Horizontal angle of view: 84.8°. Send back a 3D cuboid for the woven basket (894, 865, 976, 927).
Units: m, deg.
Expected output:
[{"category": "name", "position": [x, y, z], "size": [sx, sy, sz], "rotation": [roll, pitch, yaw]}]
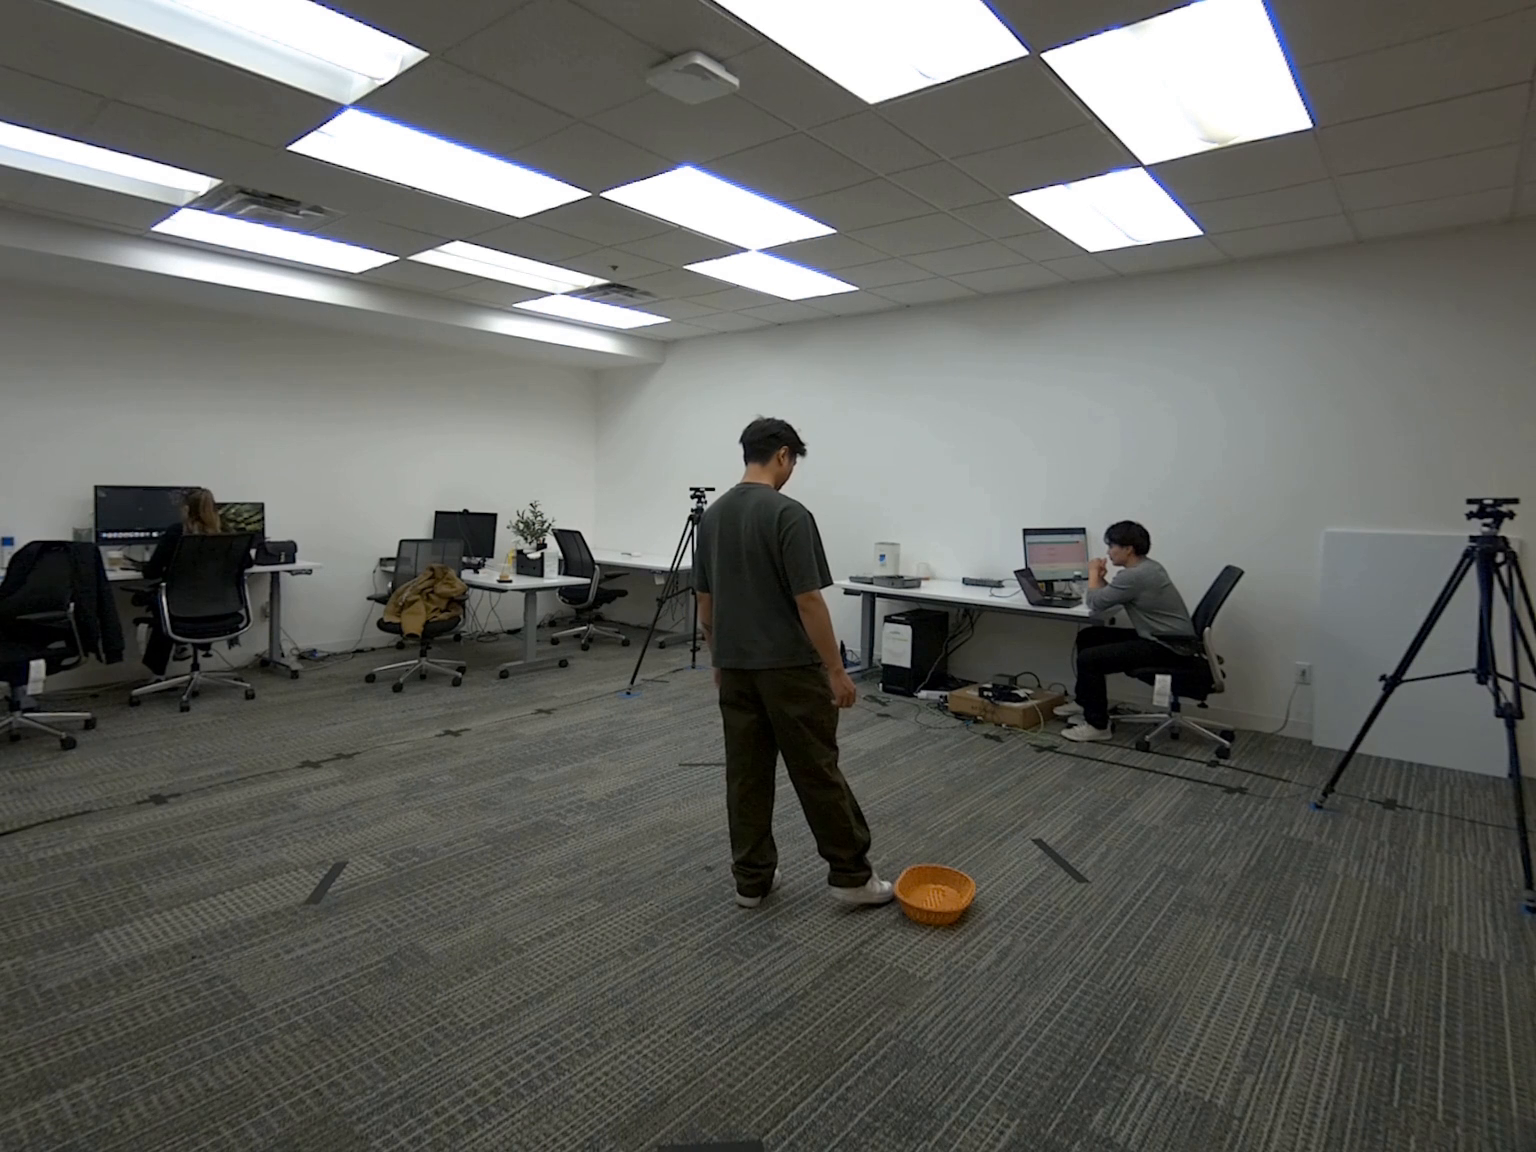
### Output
[{"category": "woven basket", "position": [0.552, 1.073, 2.866], "size": [0.260, 0.073, 0.341], "rotation": [5, 7, 30]}]
